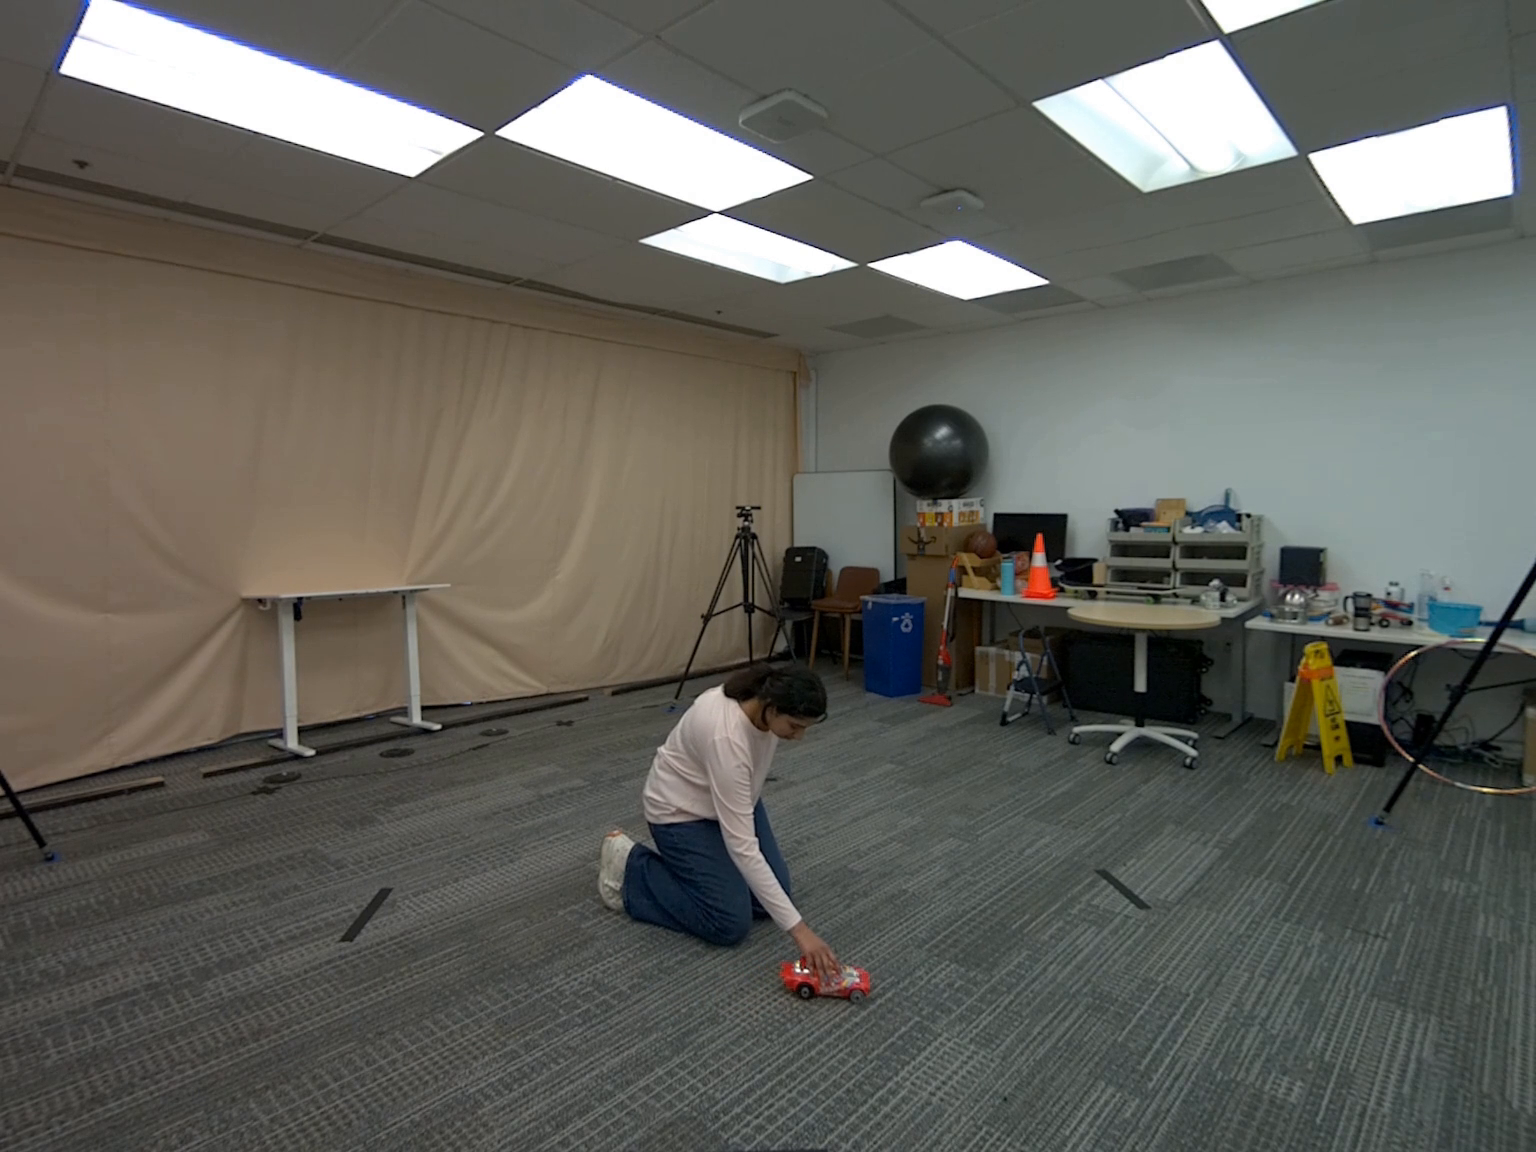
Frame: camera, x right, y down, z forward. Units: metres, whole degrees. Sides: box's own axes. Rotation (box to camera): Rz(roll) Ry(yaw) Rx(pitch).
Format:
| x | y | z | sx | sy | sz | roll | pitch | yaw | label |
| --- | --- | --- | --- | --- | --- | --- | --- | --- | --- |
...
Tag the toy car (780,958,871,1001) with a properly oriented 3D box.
| x | y | z | sx | sy | sz | roll | pitch | yaw | label |
| --- | --- | --- | --- | --- | --- | --- | --- | --- | --- |
| 0.166 | 1.163 | 2.409 | 0.257 | 0.083 | 0.129 | 11 | 4 | 7 | toy car |
